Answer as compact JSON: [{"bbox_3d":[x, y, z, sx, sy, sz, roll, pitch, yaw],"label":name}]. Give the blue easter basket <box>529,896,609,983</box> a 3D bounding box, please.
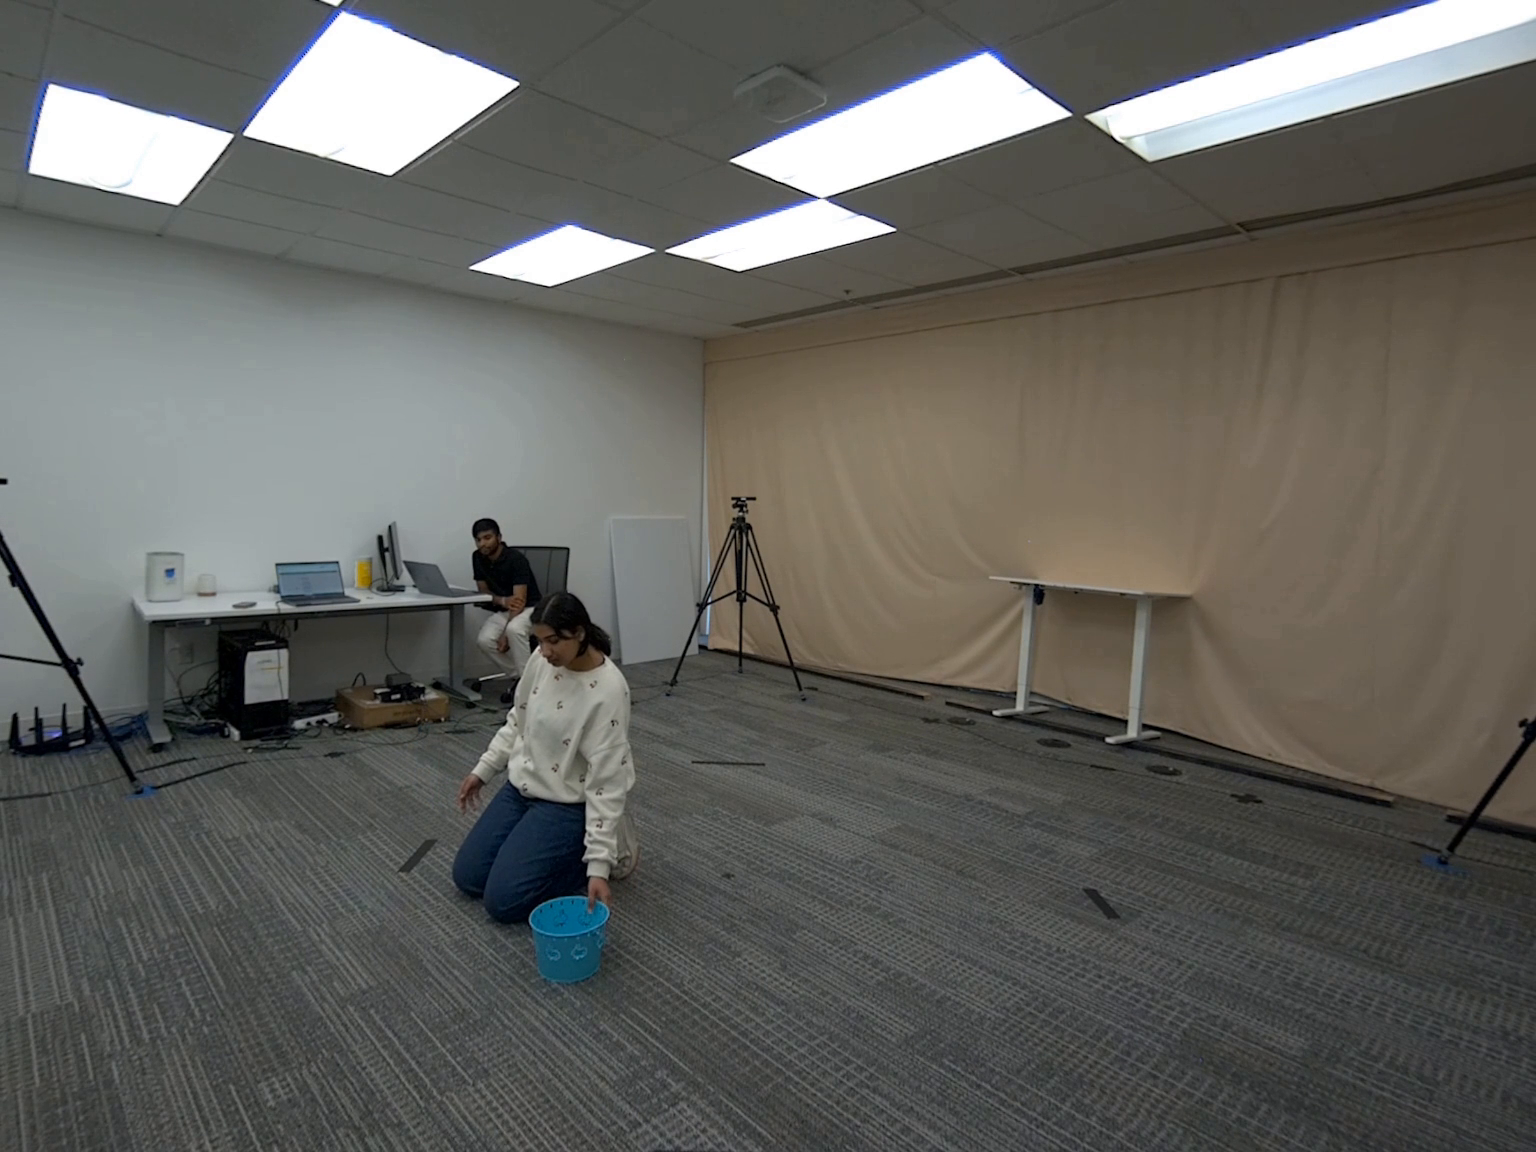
[{"bbox_3d":[-0.600,1.077,2.486,0.243,0.155,0.244,1,5,-1],"label":"blue easter basket"}]
